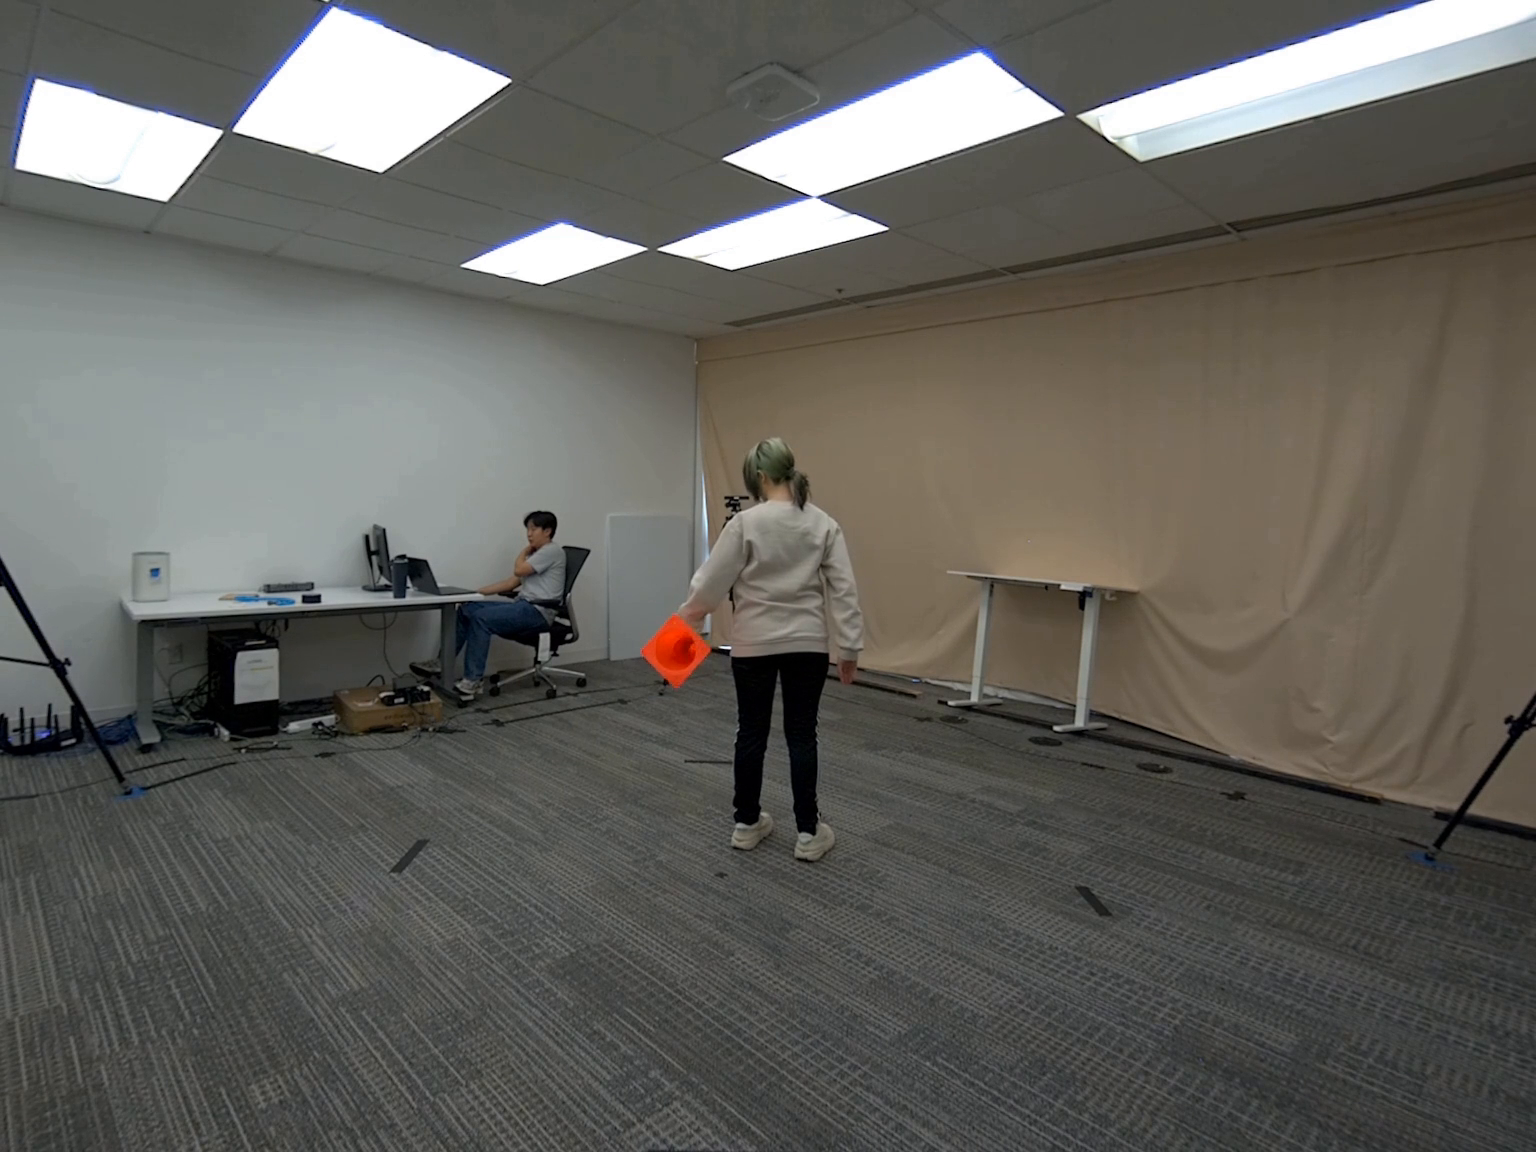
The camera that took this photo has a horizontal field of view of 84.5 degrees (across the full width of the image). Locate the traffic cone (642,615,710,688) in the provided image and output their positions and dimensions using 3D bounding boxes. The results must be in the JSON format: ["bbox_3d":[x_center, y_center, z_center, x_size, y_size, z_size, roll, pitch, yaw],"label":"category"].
[{"bbox_3d":[-0.327,0.285,3.293,0.208,0.203,0.378,42,1,11],"label":"traffic cone"}]
